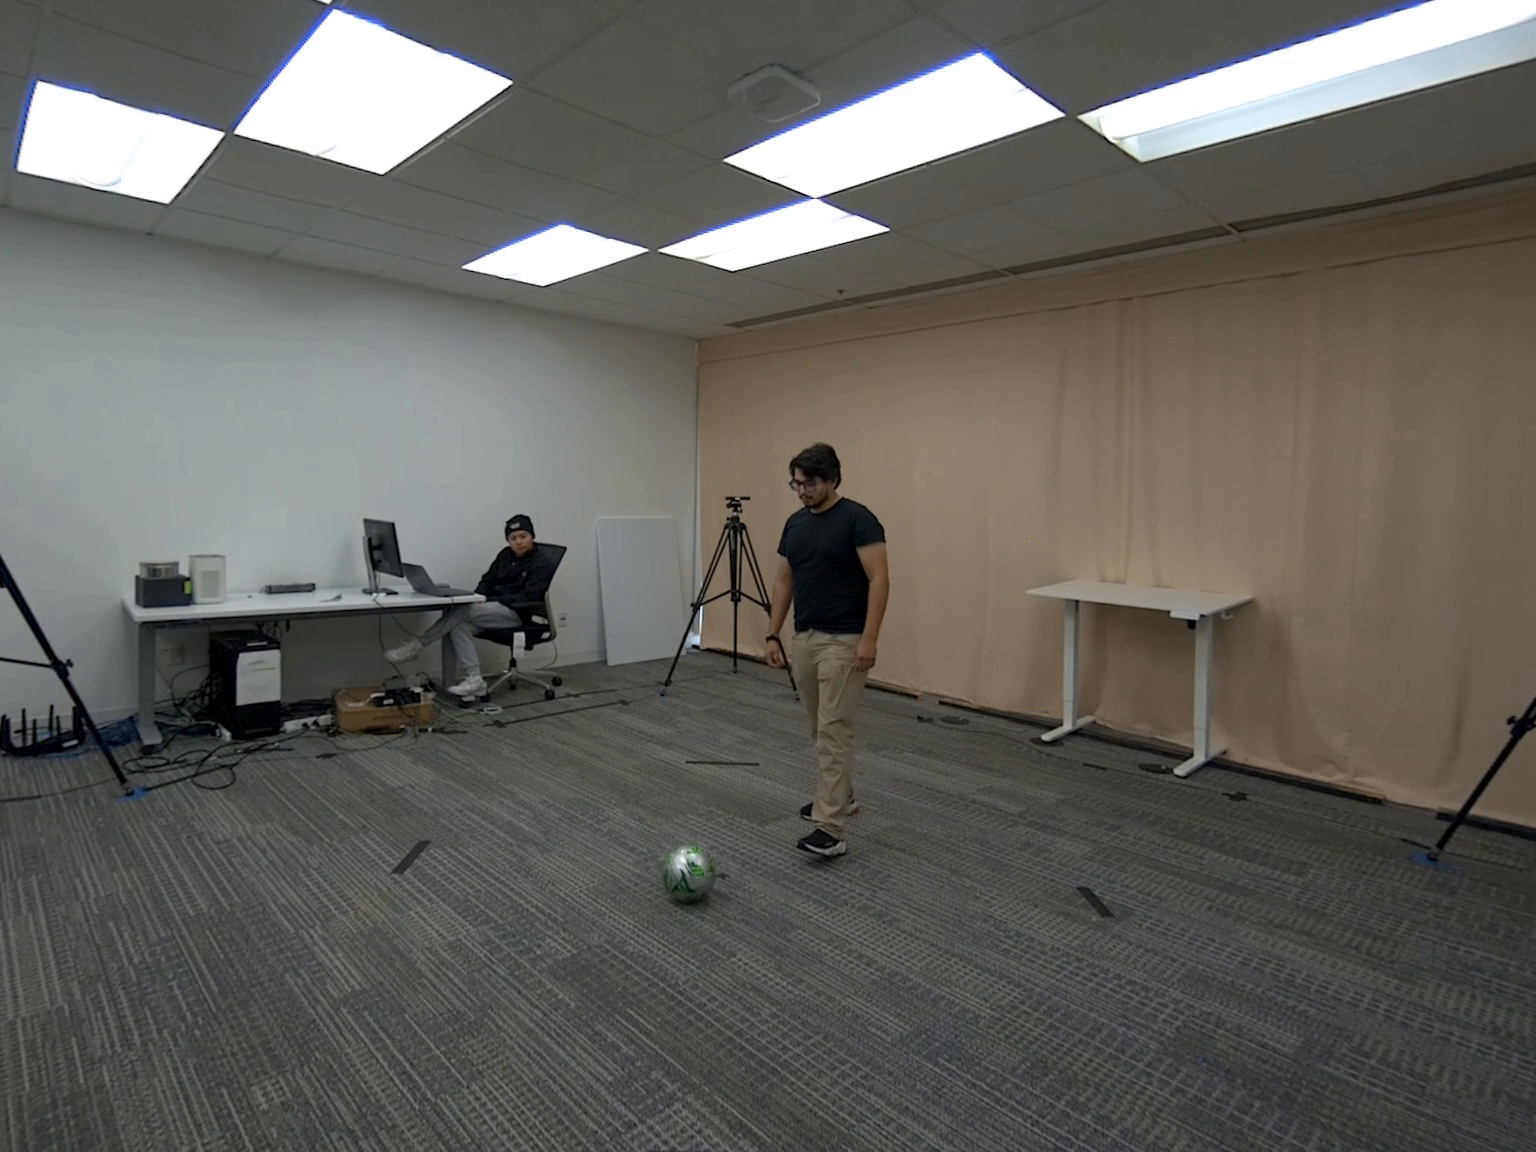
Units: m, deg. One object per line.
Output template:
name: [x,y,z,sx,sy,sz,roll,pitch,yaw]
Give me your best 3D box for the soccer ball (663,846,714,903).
soccer ball: [-0.281,1.031,2.910,0.187,0.187,0.188,1,4,-1]
